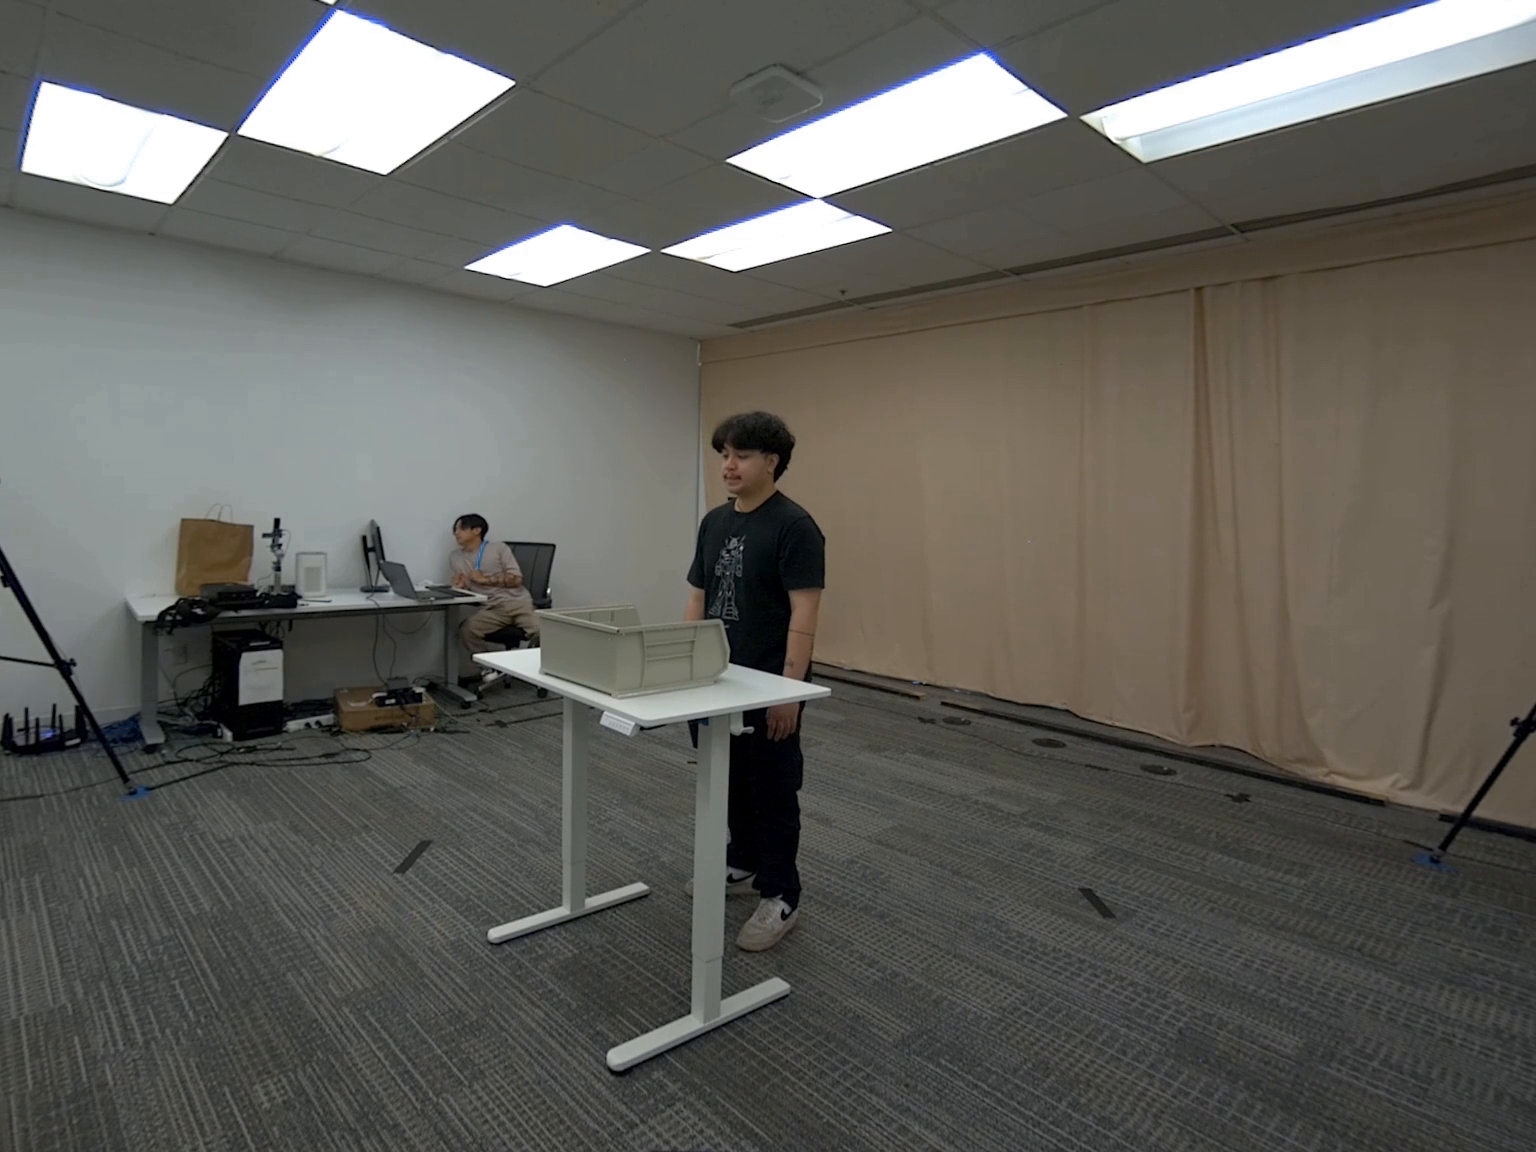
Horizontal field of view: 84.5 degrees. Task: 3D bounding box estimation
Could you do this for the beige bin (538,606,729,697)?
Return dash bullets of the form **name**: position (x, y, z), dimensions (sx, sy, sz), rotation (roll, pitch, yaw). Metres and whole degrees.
- **beige bin**: position (-0.393, 0.201, 2.353), dimensions (0.369, 0.188, 0.433), rotation (-3, 6, -42)
